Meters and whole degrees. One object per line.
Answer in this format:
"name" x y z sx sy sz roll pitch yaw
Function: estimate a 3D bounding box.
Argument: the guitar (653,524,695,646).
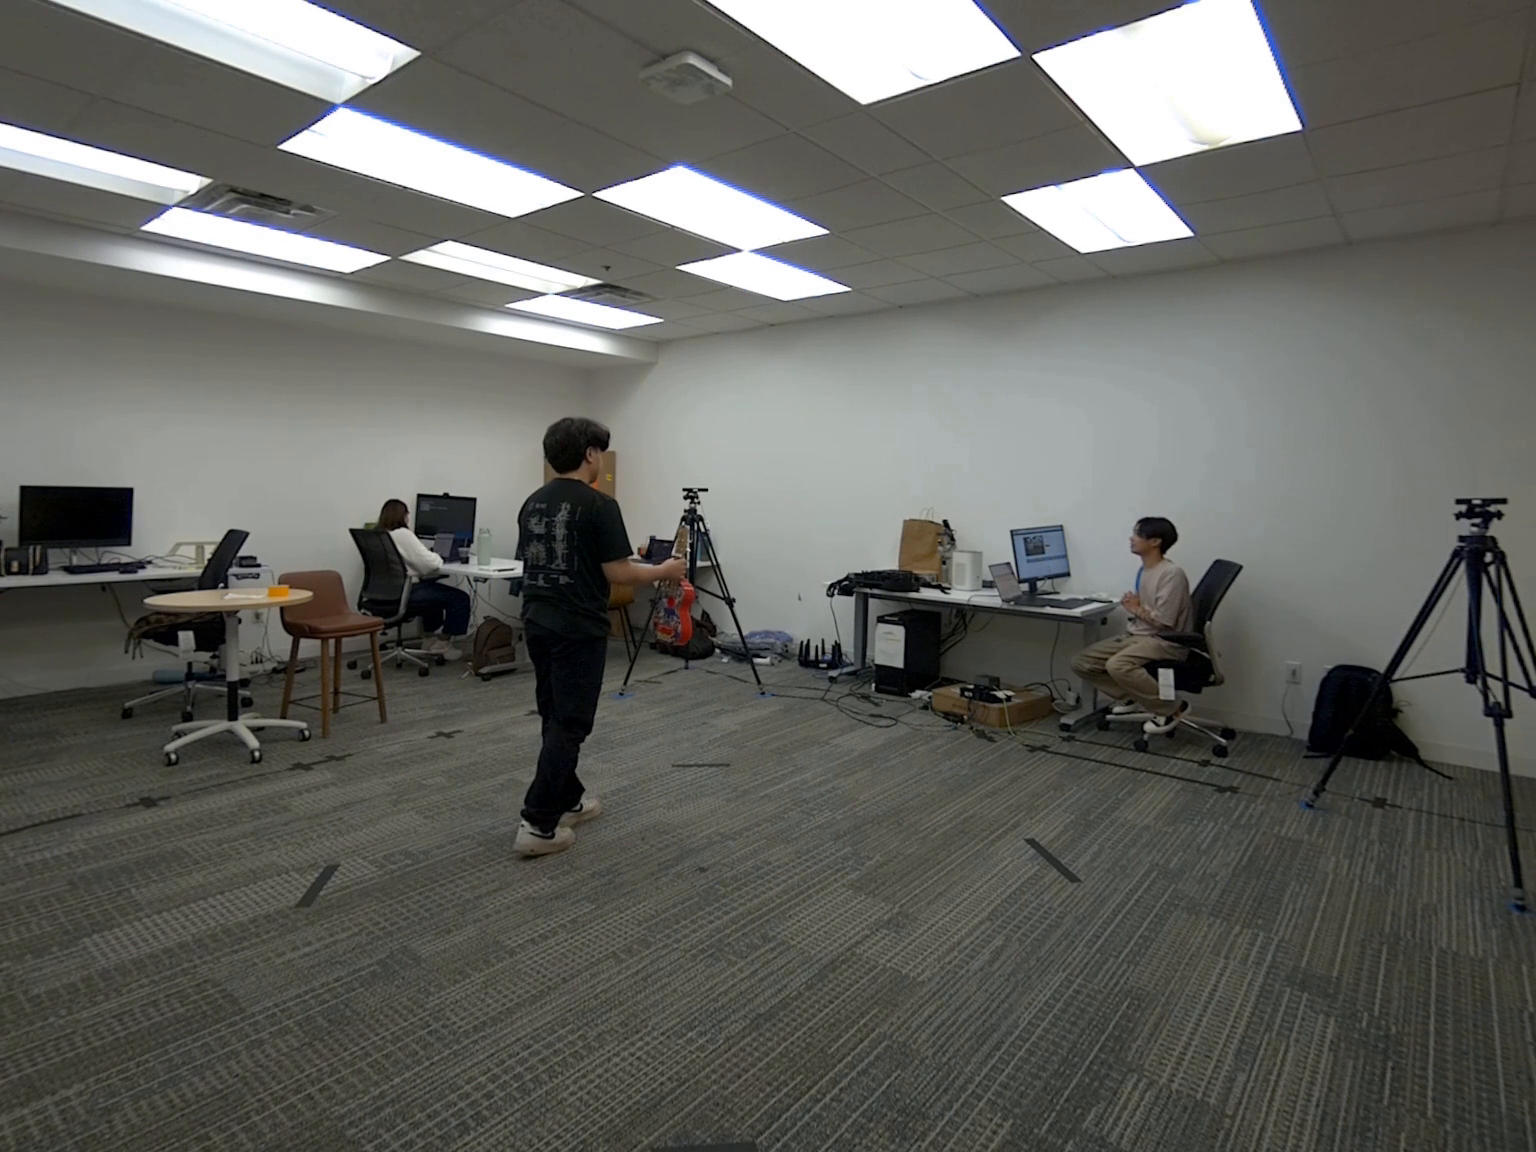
"guitar" -0.371 0.046 3.555 0.068 0.496 0.201 9 9 -46
